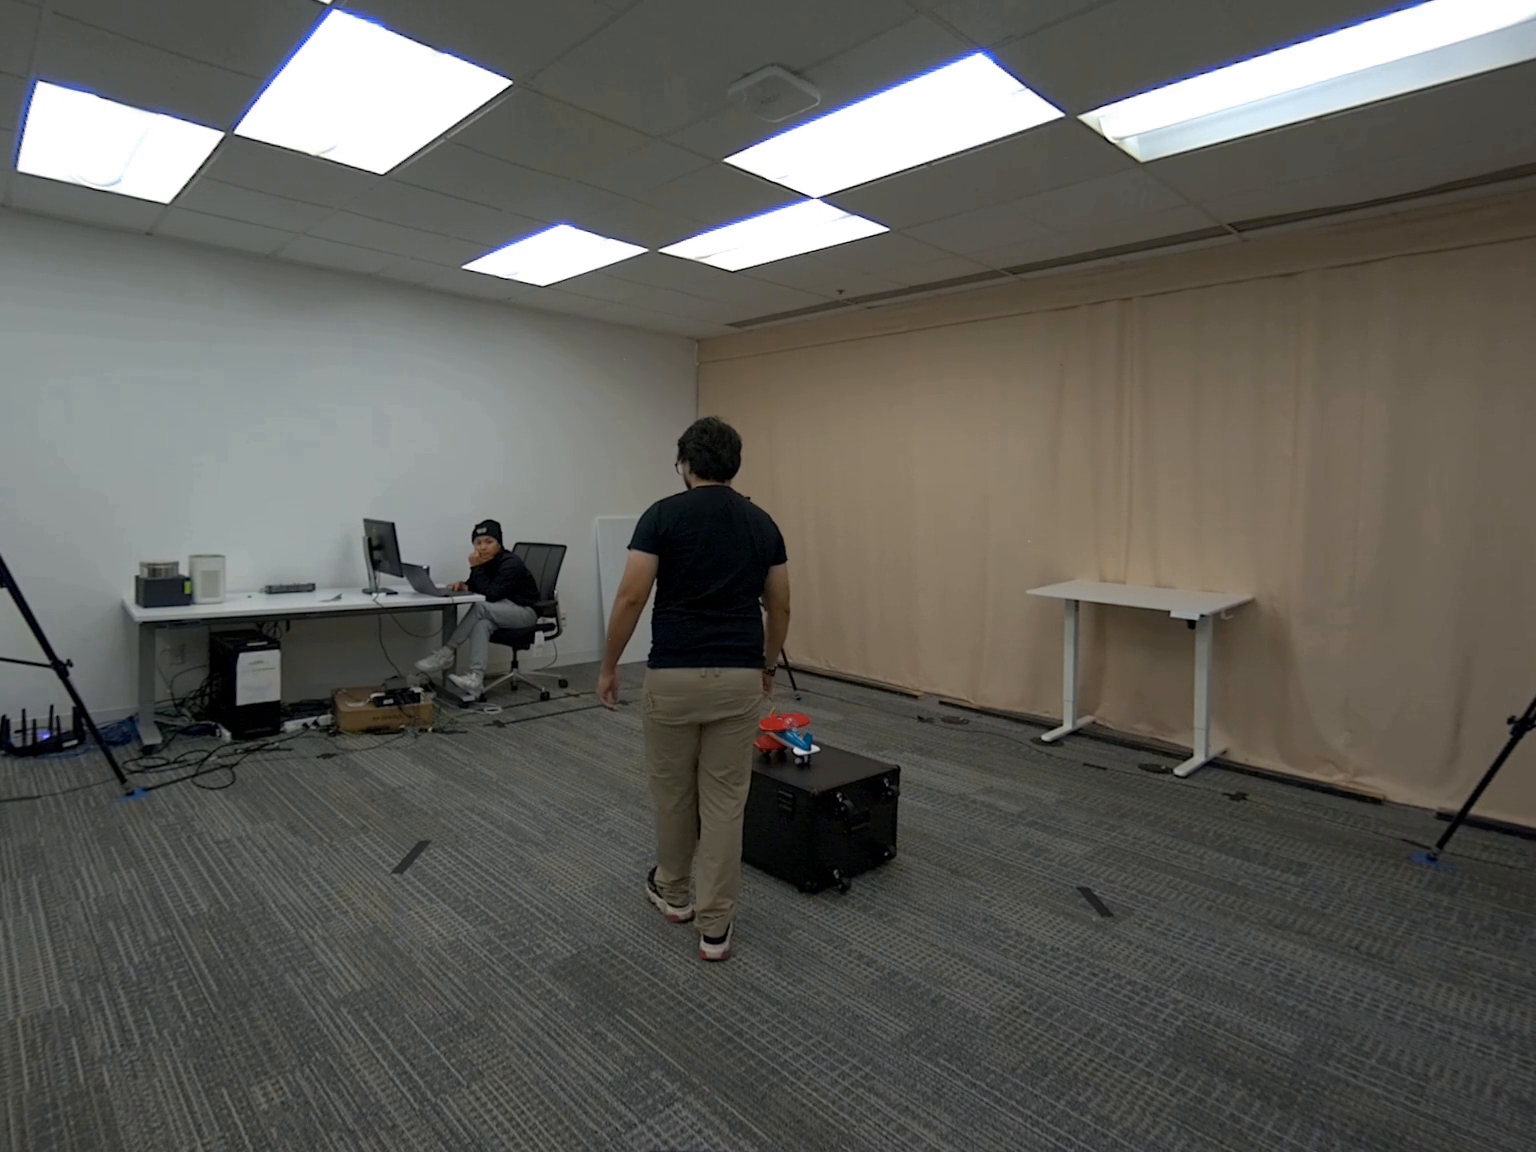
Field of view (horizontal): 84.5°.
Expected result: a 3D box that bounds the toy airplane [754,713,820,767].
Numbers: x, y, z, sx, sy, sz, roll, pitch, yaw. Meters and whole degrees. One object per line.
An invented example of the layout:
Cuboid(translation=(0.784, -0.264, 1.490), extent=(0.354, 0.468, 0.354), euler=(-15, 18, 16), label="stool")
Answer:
Cuboid(translation=(0.079, 0.640, 3.323), extent=(0.263, 0.156, 0.247), euler=(1, 4, 22), label="toy airplane")
